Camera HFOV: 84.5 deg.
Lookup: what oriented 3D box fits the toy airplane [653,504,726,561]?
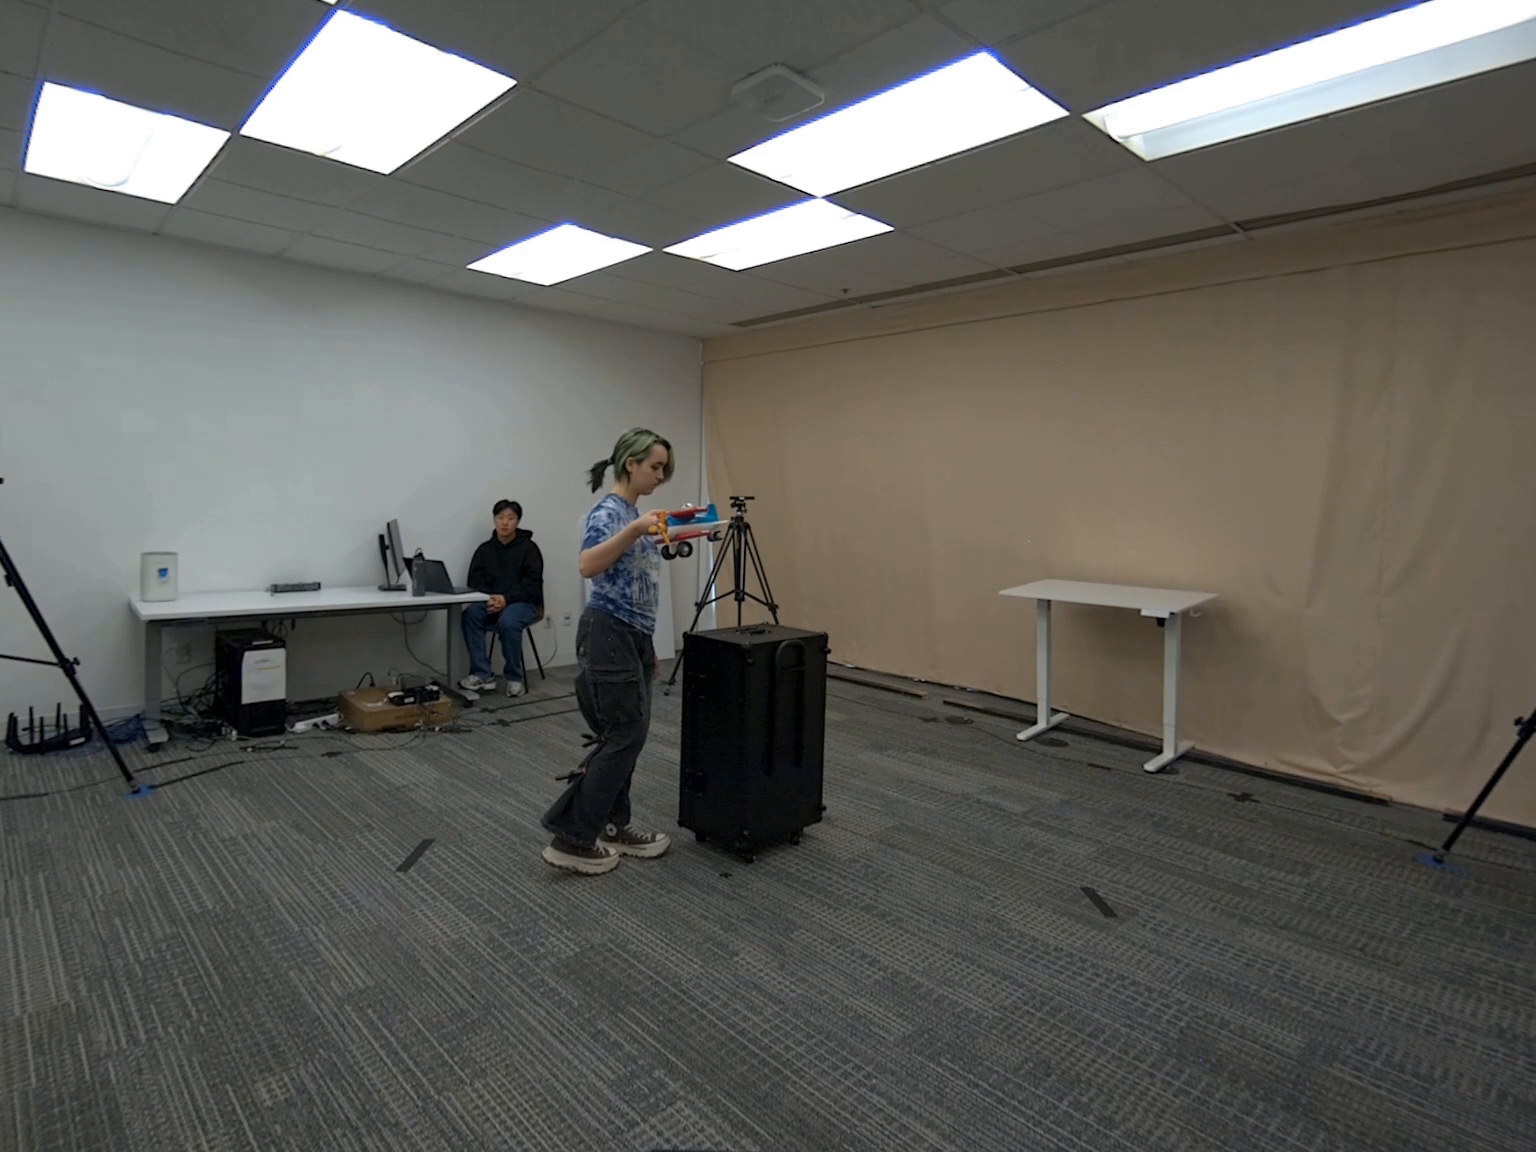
[{"bbox_3d":[-0.287,-0.160,2.849,0.254,0.155,0.259,-16,11,20],"label":"toy airplane"}]
